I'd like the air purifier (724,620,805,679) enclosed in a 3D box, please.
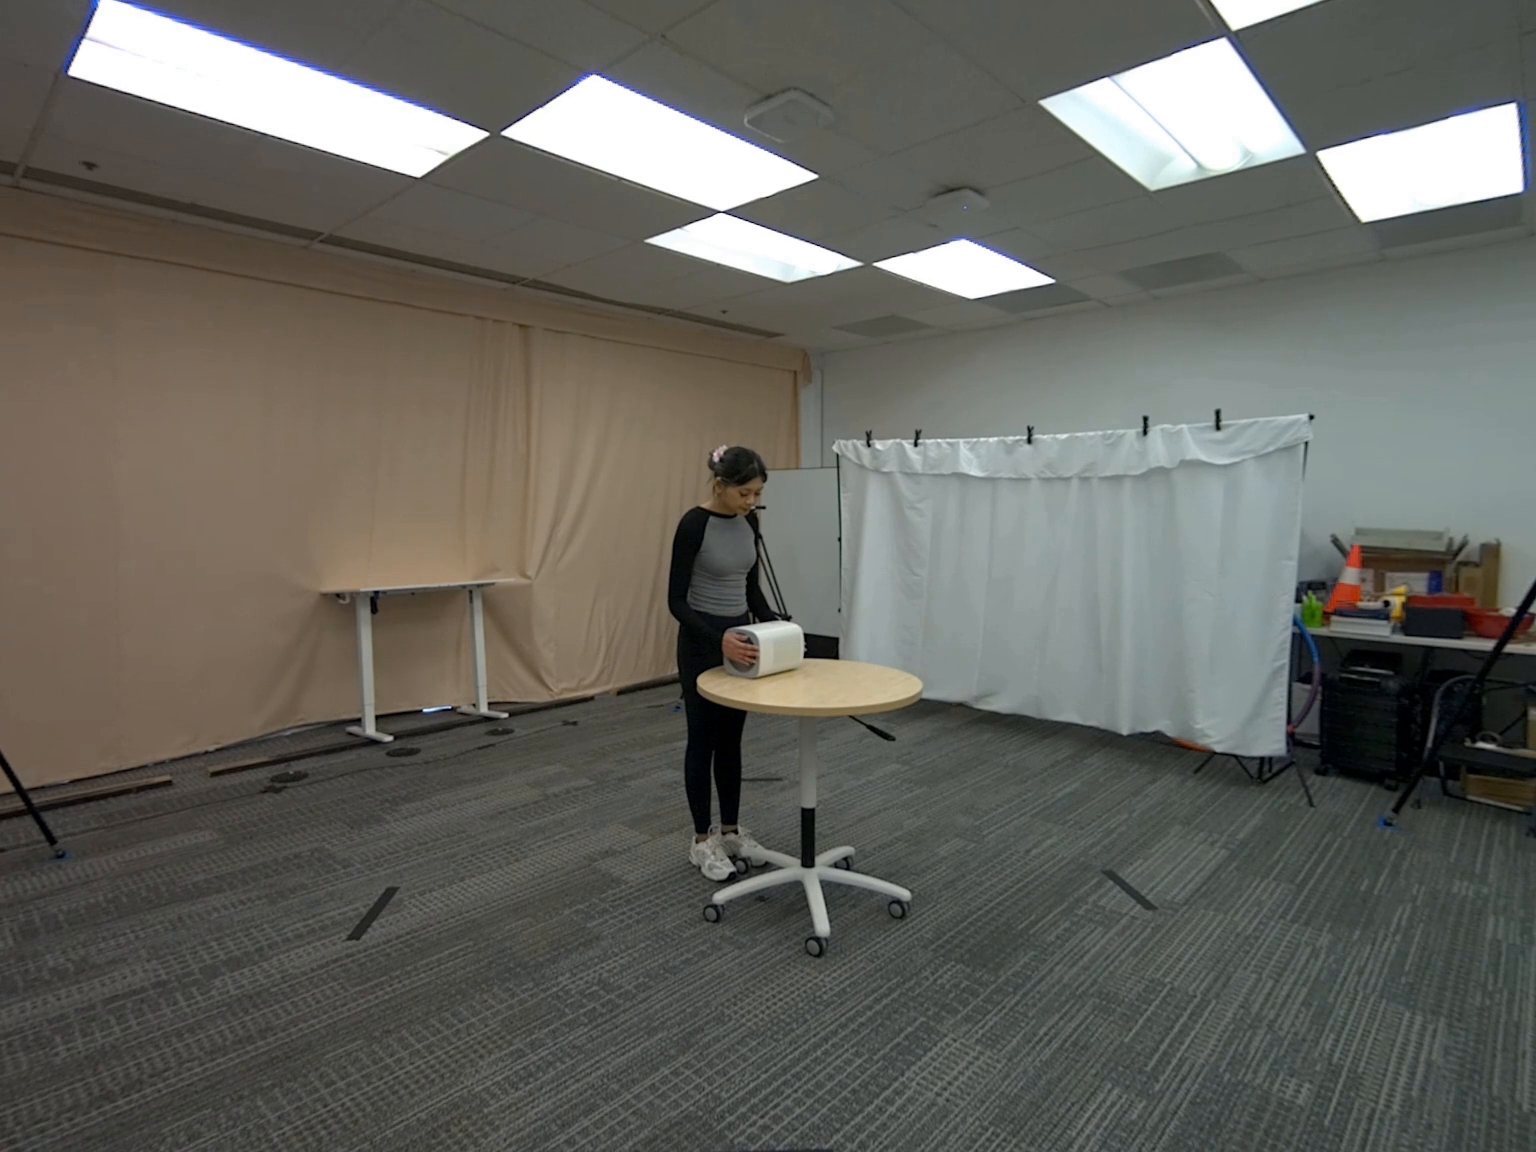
[{"bbox_3d":[-0.003,0.258,3.021,0.177,0.171,0.257,4,6,40],"label":"air purifier"}]
